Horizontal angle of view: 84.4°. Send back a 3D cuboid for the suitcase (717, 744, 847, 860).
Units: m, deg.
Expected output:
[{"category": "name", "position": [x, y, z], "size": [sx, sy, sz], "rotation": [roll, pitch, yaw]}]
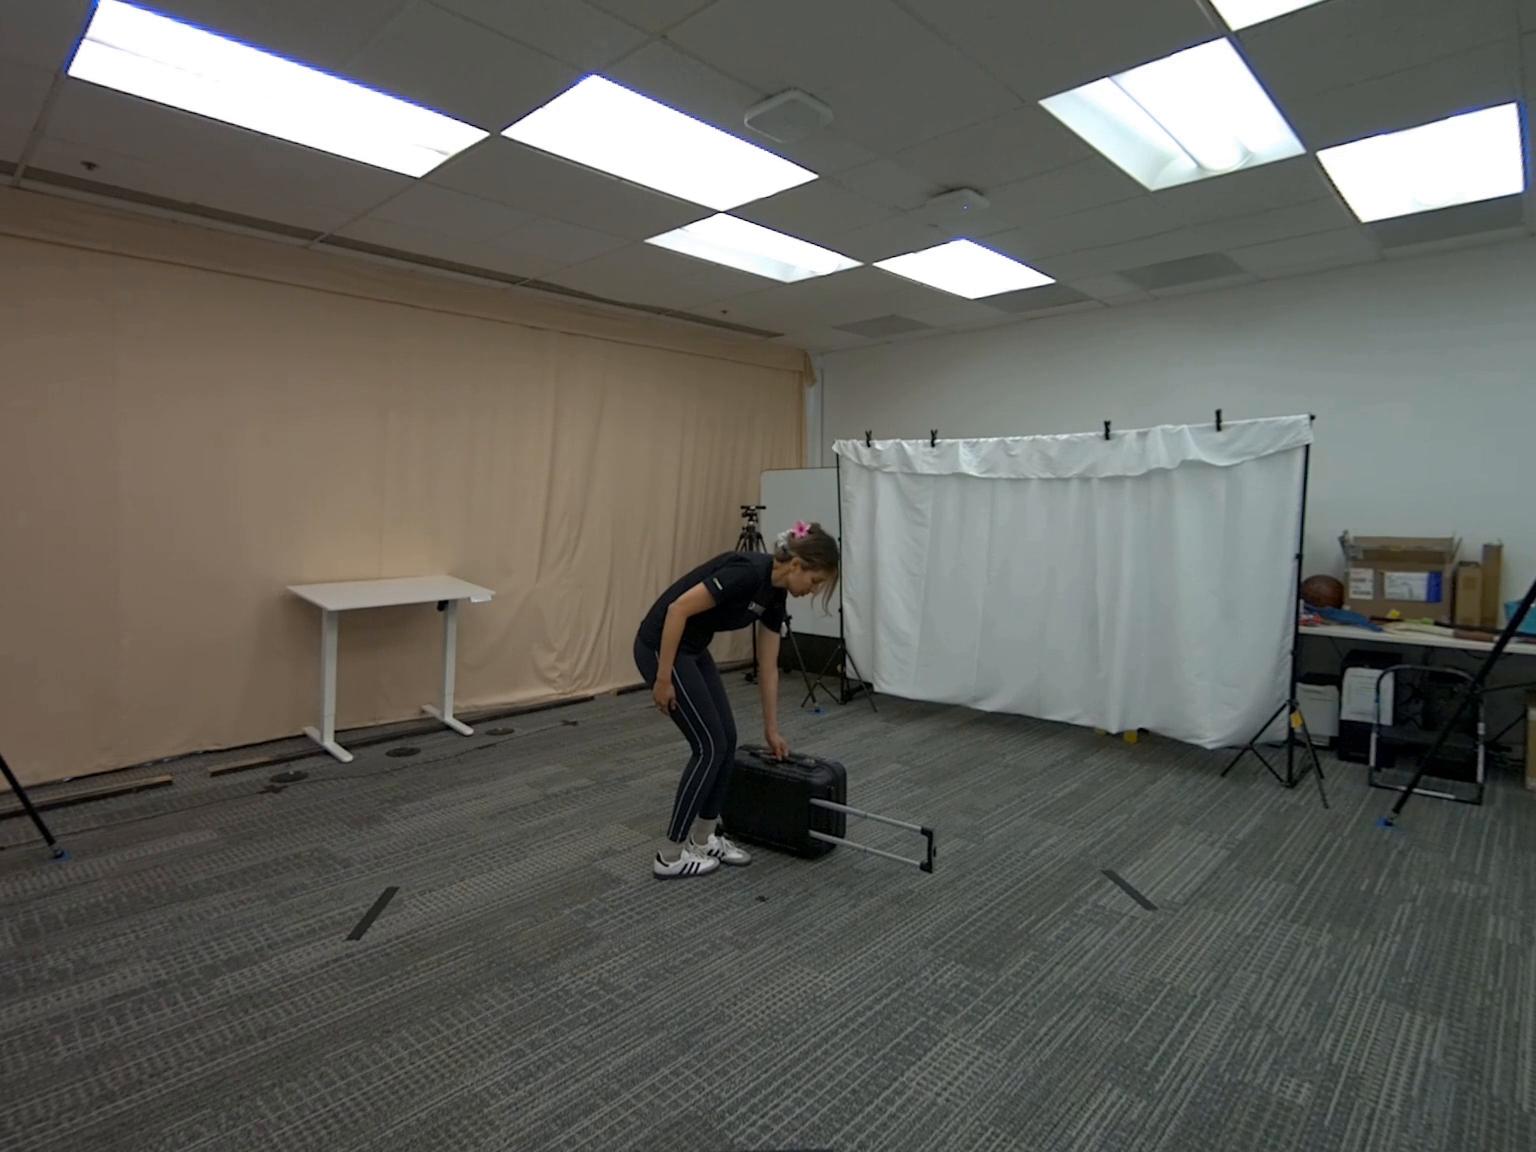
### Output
[{"category": "suitcase", "position": [0.227, 0.924, 3.347], "size": [1.009, 0.383, 0.249], "rotation": [3, 4, 35]}]
